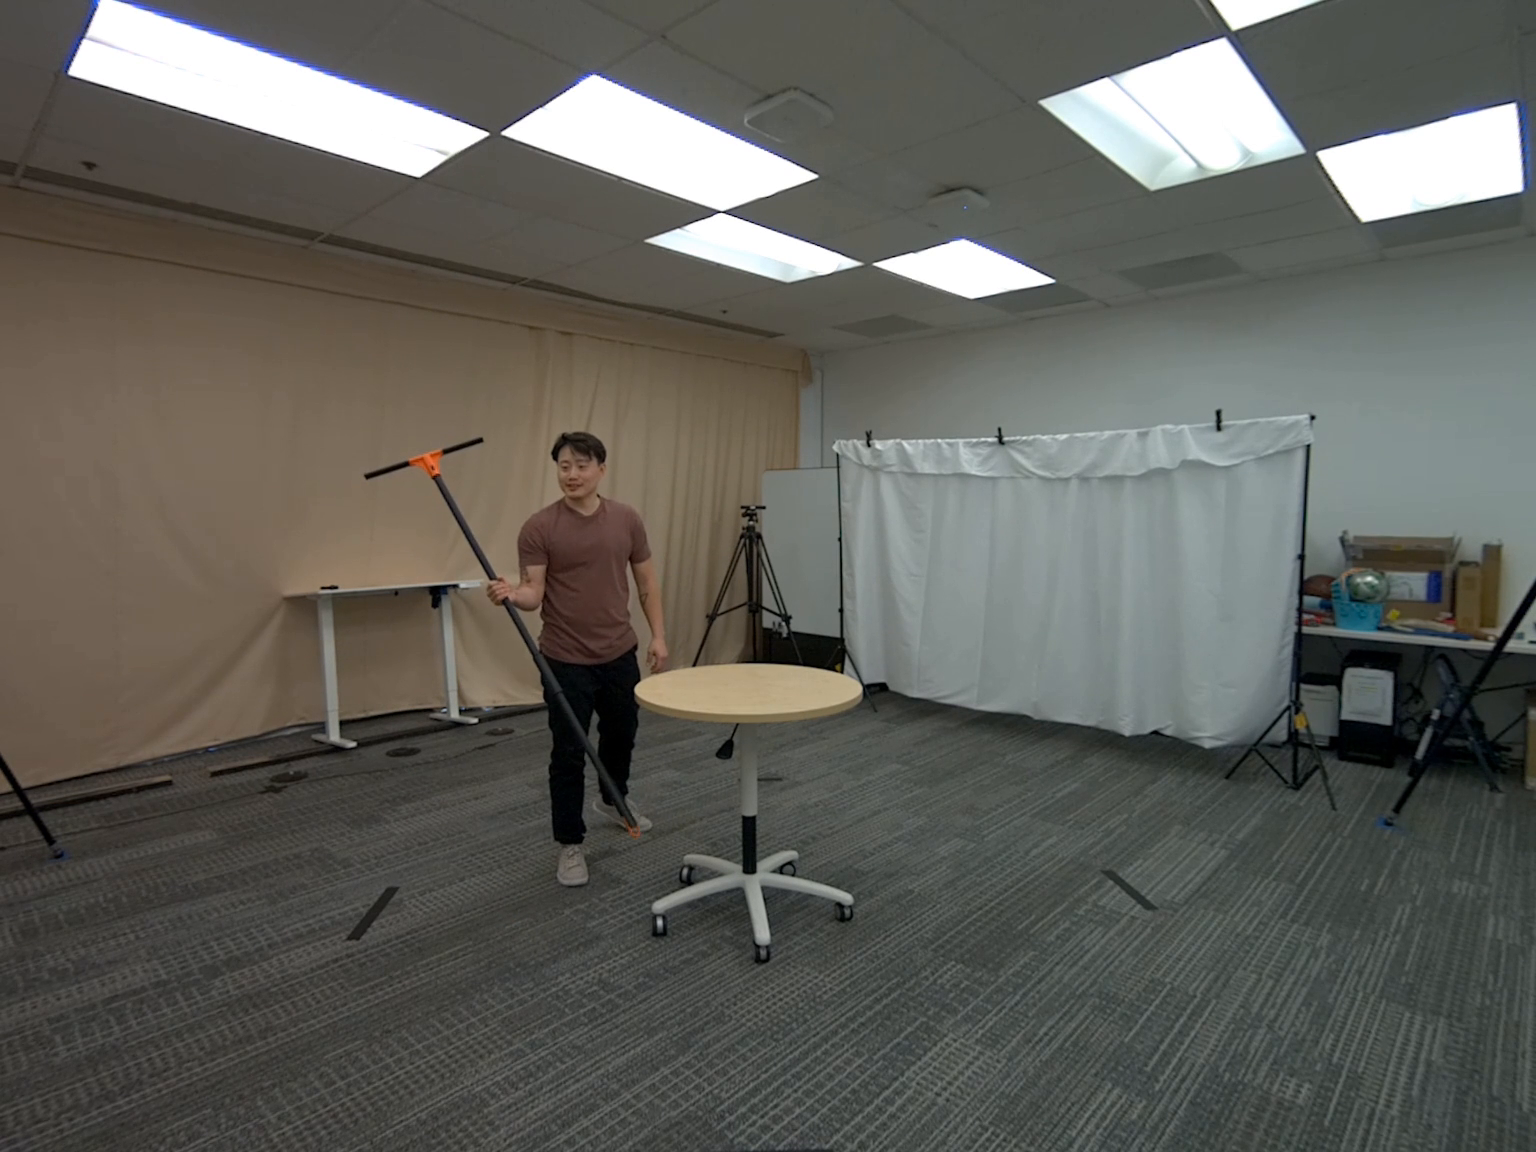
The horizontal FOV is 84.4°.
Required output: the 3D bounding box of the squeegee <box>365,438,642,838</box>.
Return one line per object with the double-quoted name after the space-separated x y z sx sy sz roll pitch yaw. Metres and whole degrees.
-0.816 0.167 2.763 0.429 1.569 0.053 -25 -21 -31 "squeegee"
